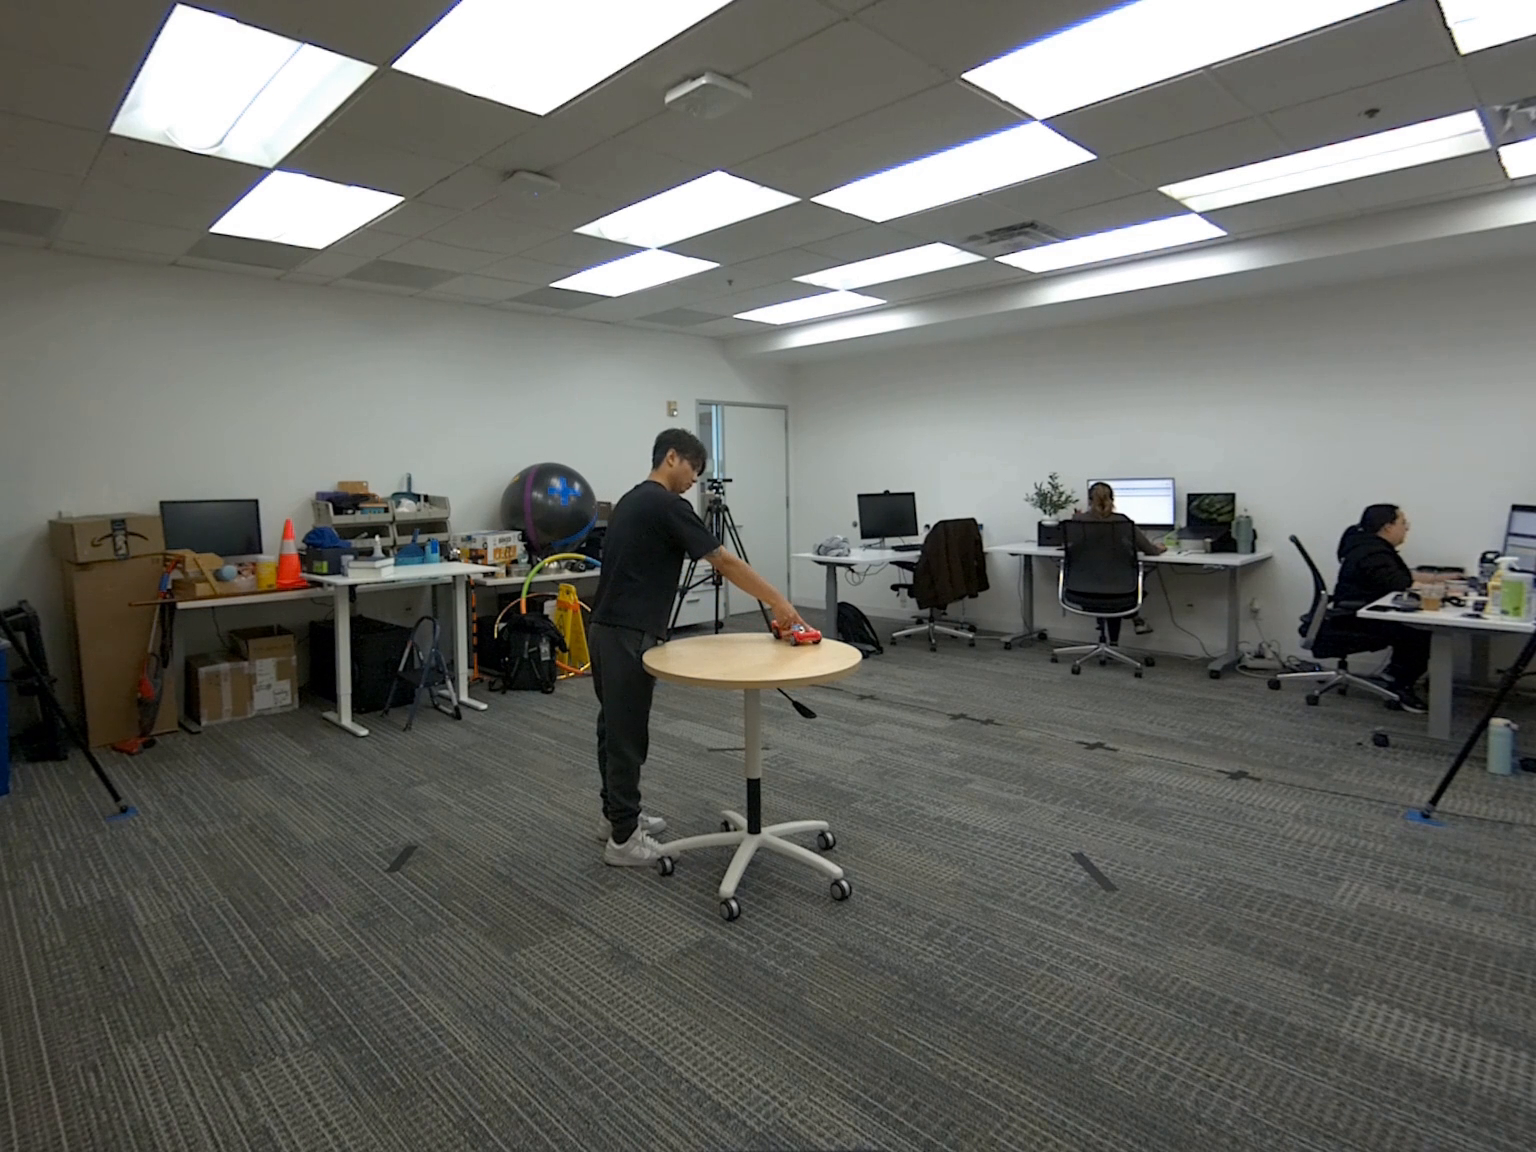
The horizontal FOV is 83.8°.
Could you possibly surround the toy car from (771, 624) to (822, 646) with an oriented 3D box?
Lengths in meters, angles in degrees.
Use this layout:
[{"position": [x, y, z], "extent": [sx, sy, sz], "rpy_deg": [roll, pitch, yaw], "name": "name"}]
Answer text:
[{"position": [0.098, 0.210, 3.230], "extent": [0.128, 0.082, 0.263], "rpy_deg": [-3, 17, -23], "name": "toy car"}]
